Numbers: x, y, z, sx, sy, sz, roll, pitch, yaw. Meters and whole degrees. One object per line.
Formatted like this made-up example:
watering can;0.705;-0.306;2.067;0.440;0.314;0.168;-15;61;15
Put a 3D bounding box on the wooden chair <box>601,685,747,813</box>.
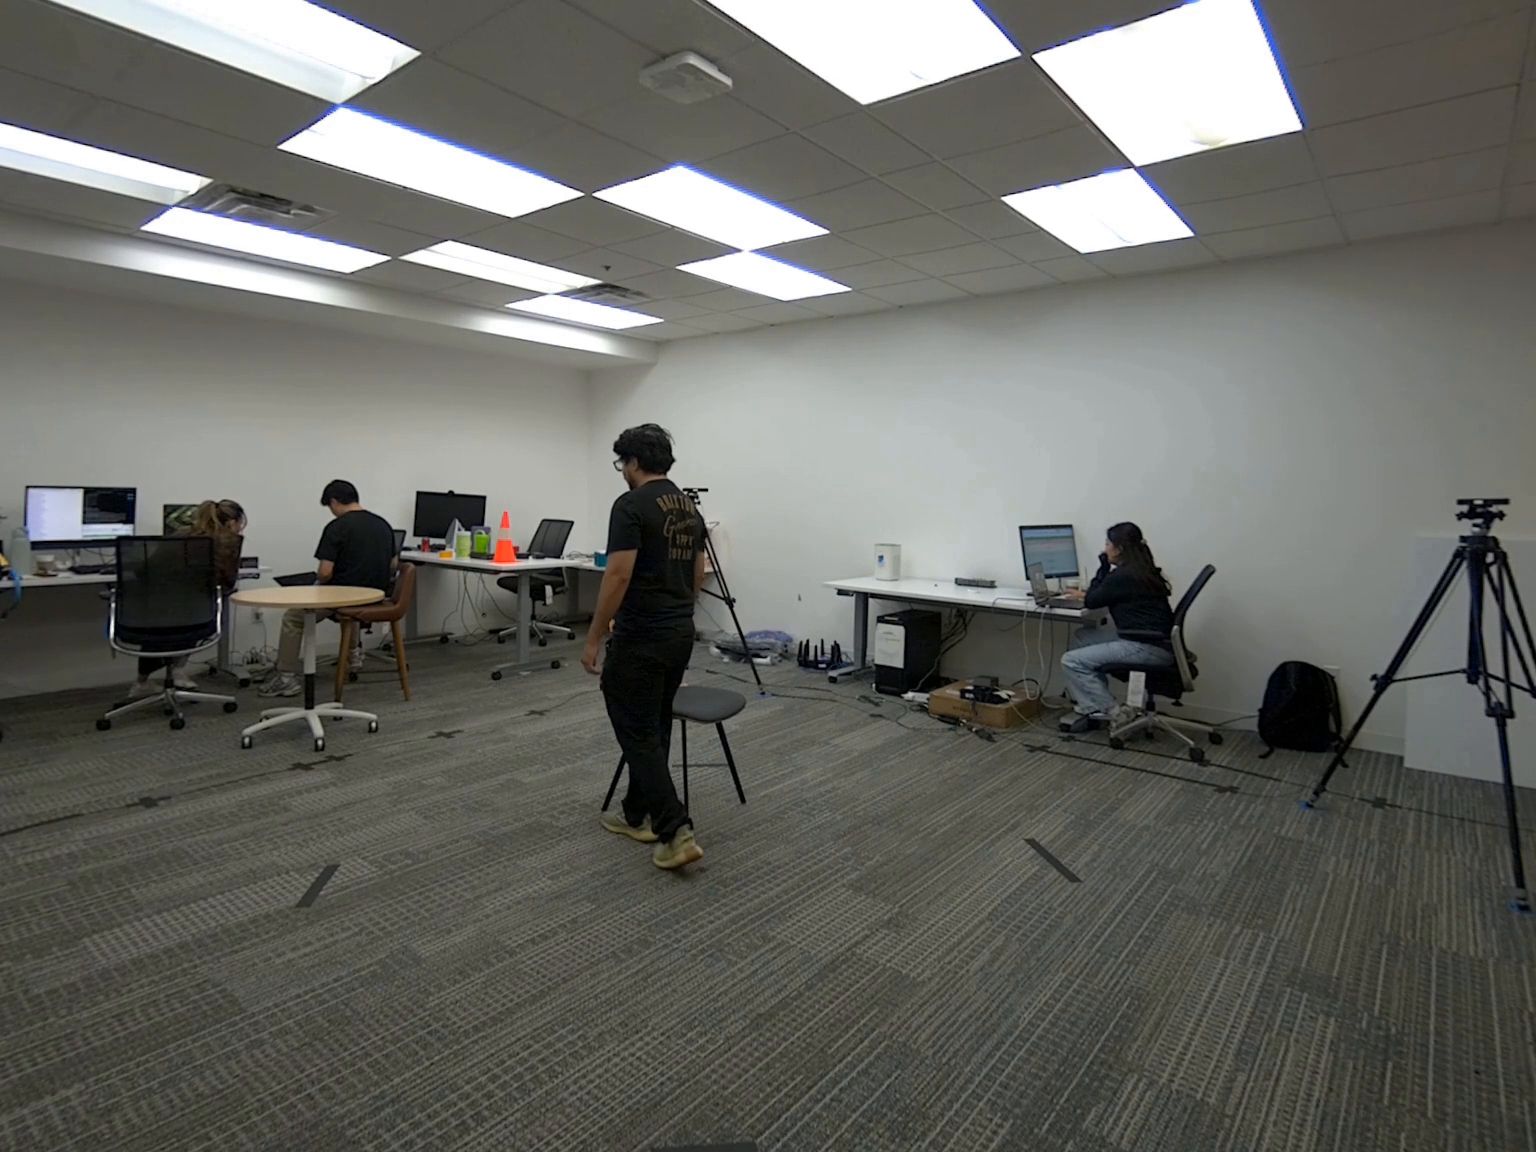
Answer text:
wooden chair;-0.398;0.581;3.688;0.538;0.877;0.465;-2;0;31
